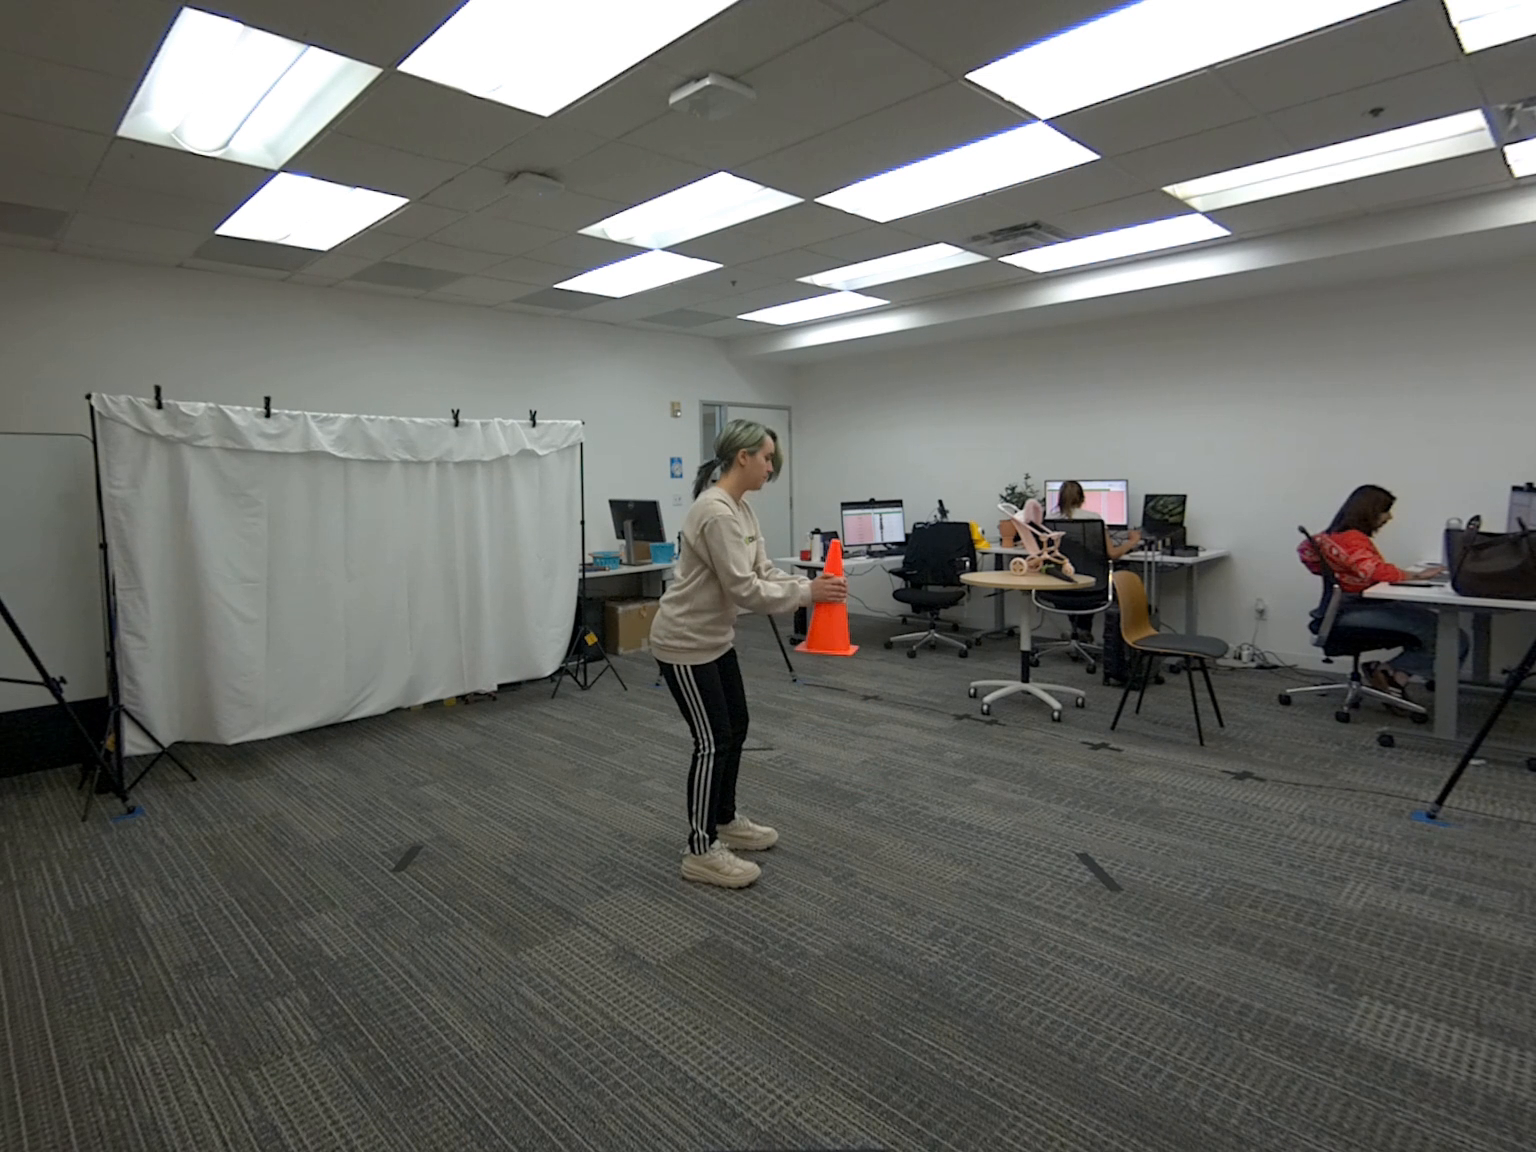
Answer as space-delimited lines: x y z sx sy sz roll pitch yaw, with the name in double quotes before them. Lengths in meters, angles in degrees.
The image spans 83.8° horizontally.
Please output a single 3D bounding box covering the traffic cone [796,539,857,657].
"traffic cone" 0.217 0.074 2.974 0.207 0.383 0.202 5 3 16
